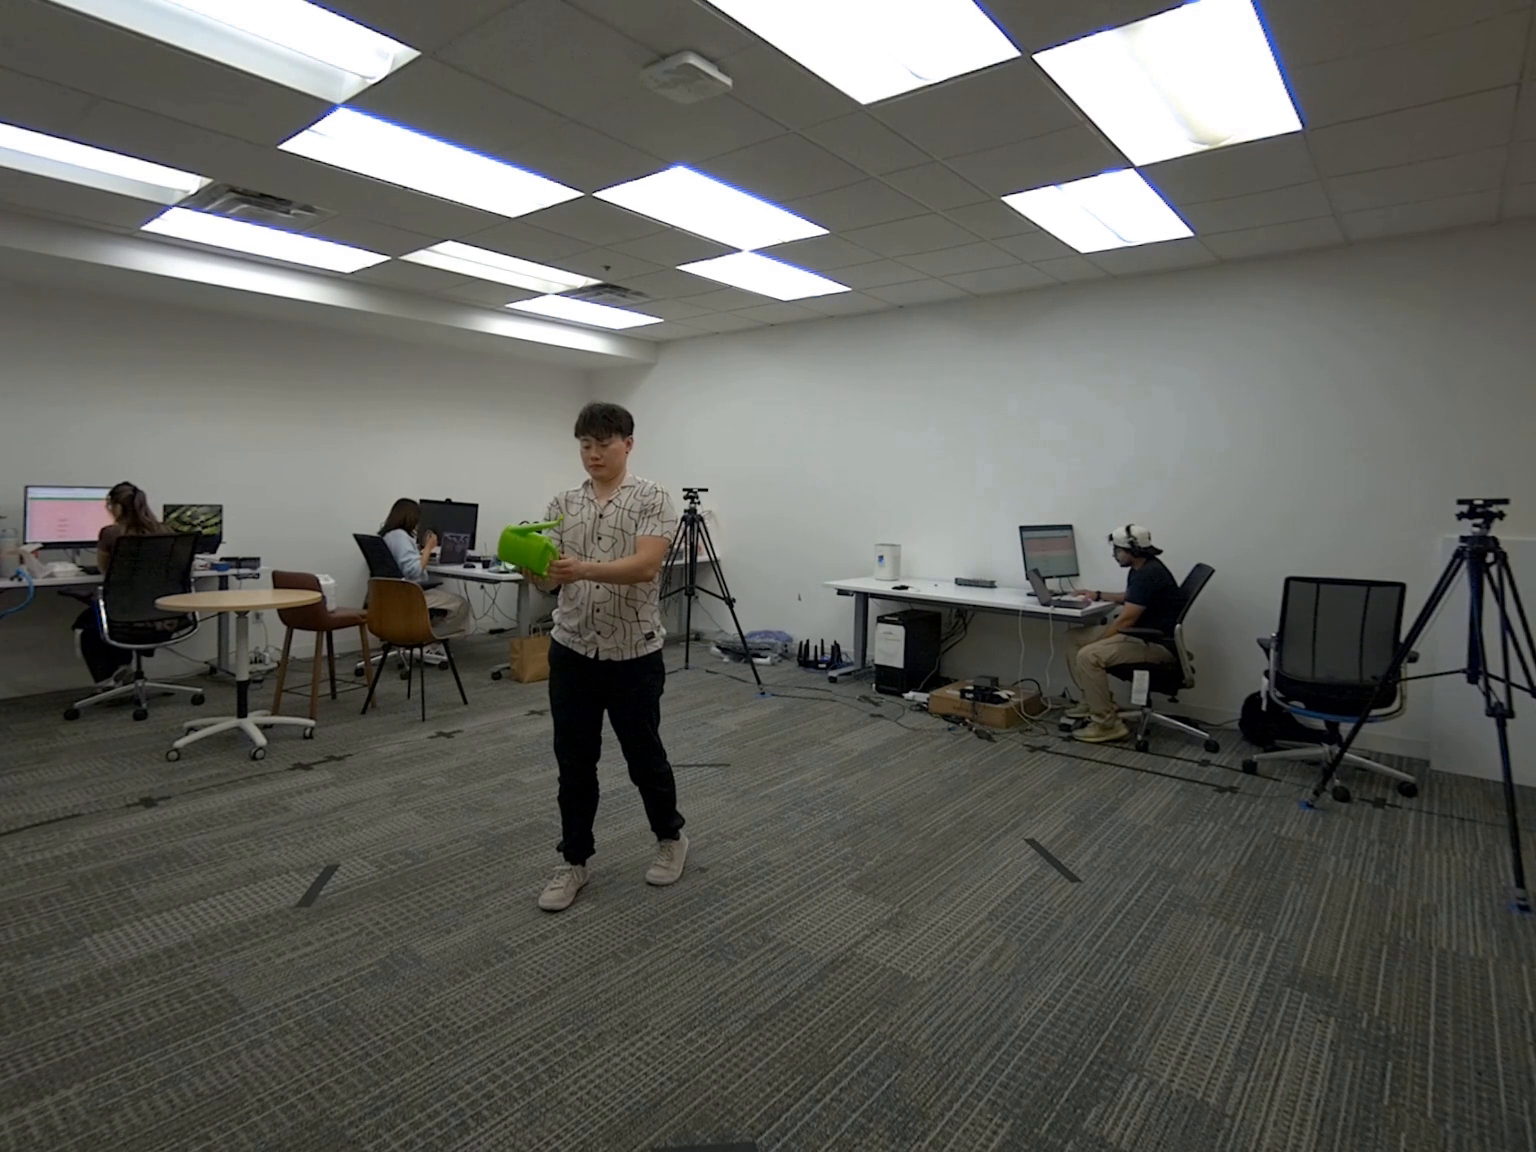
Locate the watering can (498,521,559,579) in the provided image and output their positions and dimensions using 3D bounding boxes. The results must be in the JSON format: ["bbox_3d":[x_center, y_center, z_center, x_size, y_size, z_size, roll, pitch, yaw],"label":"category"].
[{"bbox_3d":[-0.710,-0.112,2.502,0.178,0.274,0.099,20,31,3],"label":"watering can"}]
